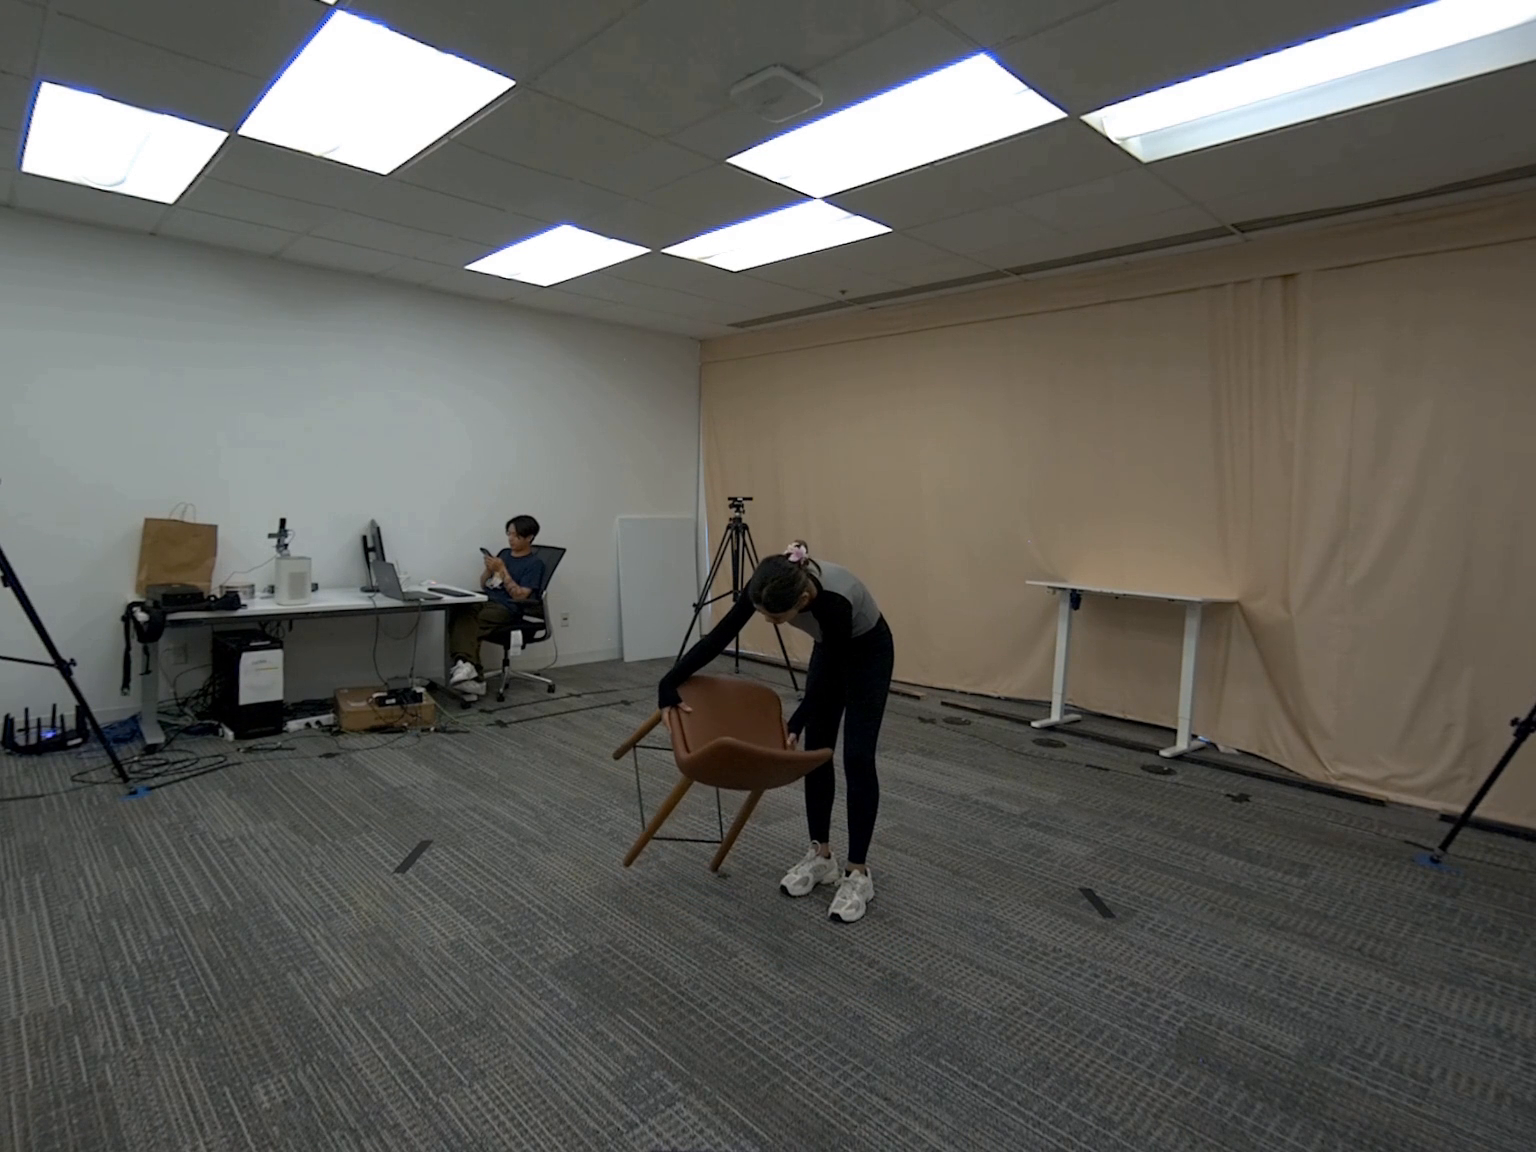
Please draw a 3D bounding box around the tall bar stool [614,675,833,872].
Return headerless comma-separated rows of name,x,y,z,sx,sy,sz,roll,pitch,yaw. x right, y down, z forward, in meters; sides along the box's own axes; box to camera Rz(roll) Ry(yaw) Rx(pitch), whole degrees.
tall bar stool,-0.201,0.641,2.949,0.447,0.480,0.885,12,-45,-25
